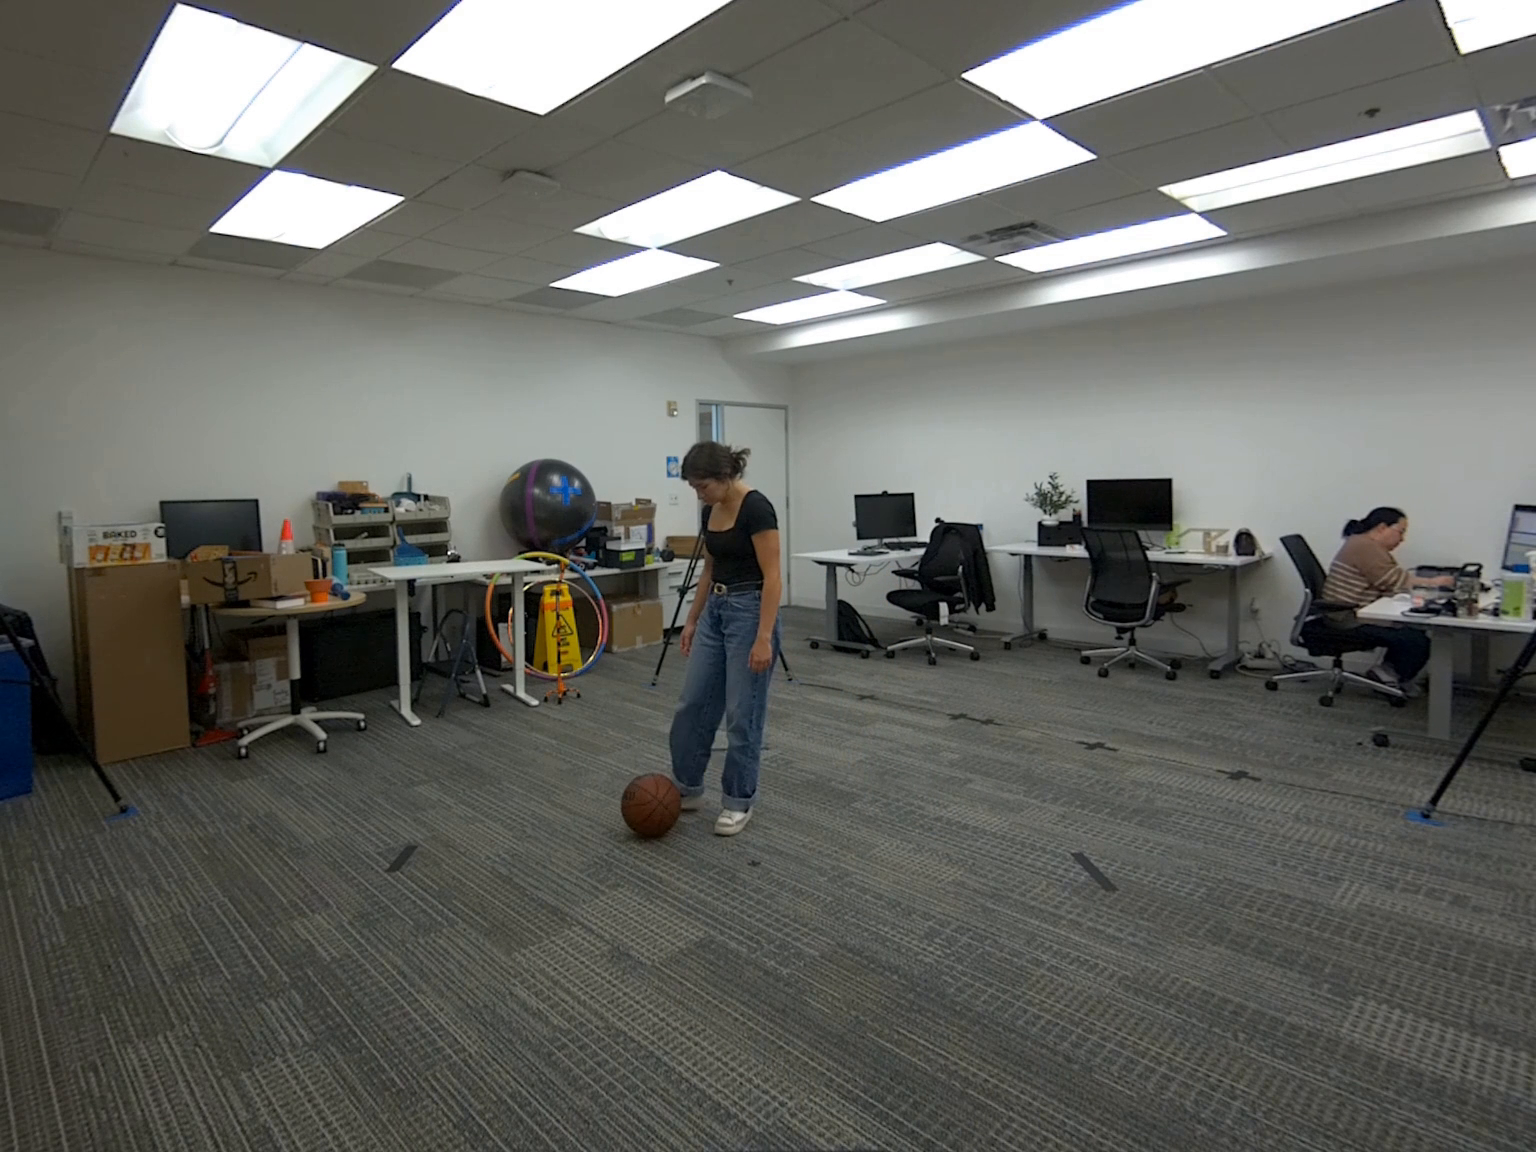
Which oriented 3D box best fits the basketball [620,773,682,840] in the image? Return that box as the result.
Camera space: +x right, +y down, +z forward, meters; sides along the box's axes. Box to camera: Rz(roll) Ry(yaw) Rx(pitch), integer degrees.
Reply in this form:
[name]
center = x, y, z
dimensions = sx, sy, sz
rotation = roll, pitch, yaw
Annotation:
[basketball]
center = -0.459, 0.899, 3.368
dimensions = 0.236, 0.235, 0.237
rotation = -1, 5, -2
